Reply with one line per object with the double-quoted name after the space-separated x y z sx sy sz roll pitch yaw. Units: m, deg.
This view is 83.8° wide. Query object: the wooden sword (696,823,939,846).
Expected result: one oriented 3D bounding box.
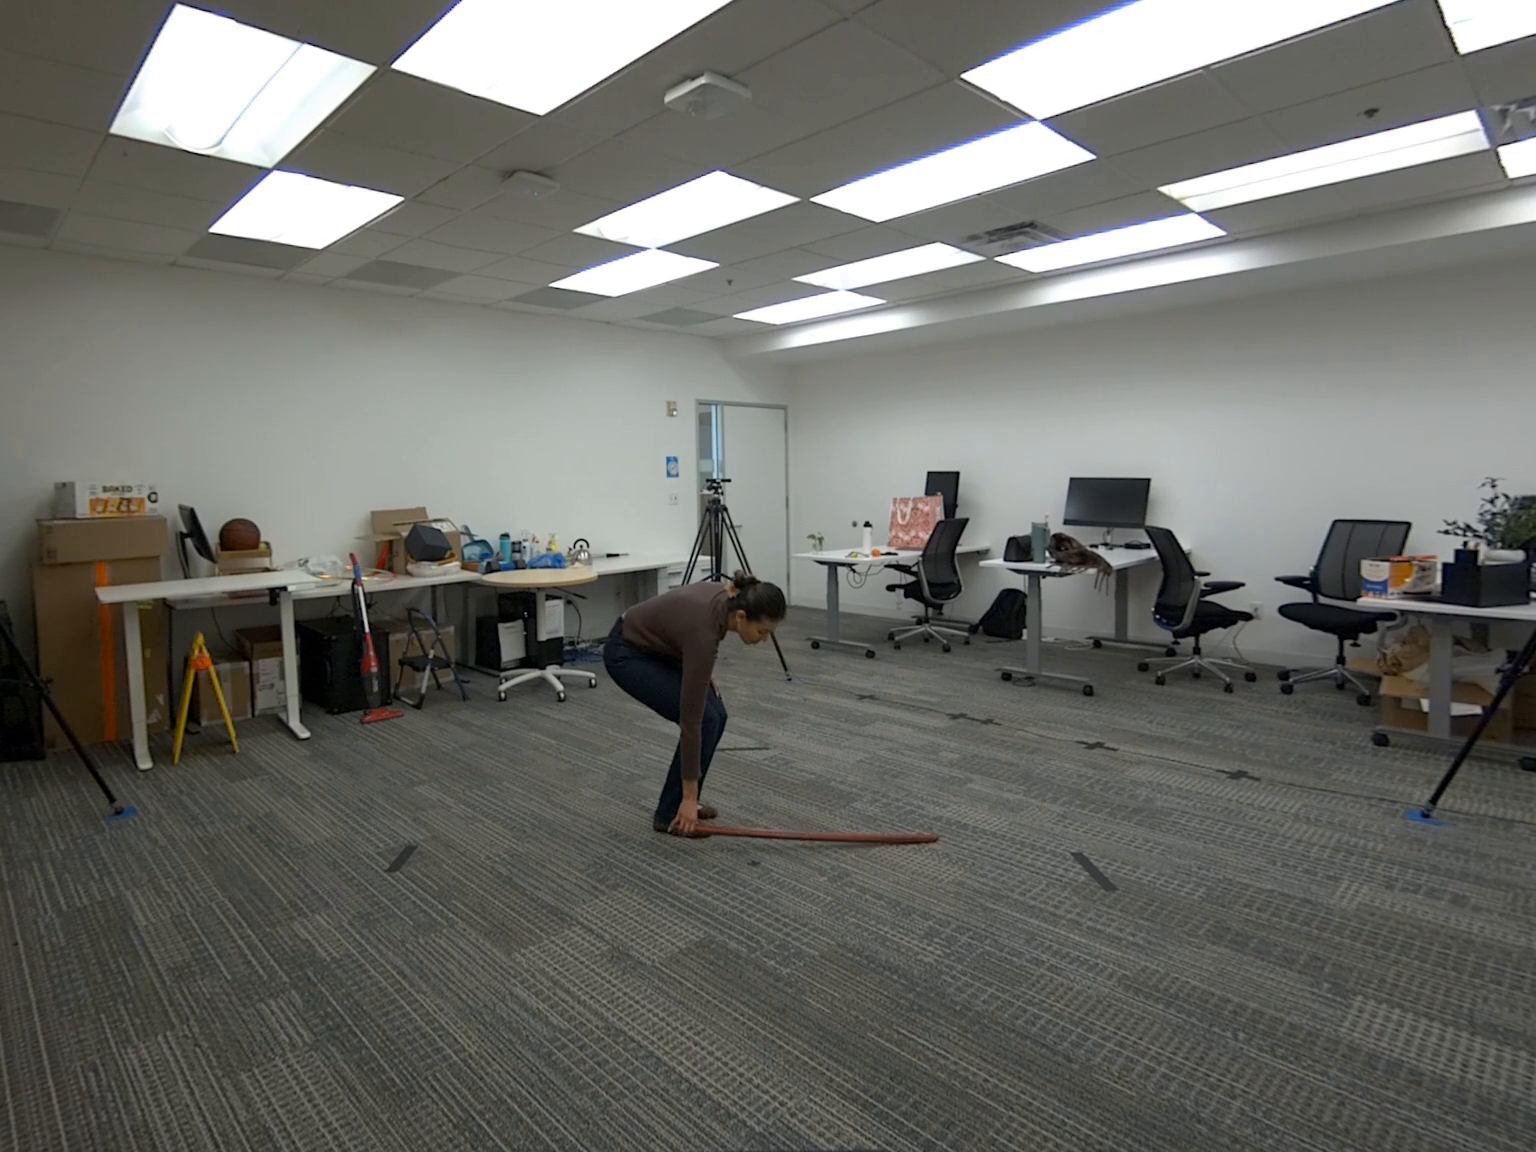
0.160 0.988 3.219 1.018 0.052 0.024 1 -16 -6 "wooden sword"
